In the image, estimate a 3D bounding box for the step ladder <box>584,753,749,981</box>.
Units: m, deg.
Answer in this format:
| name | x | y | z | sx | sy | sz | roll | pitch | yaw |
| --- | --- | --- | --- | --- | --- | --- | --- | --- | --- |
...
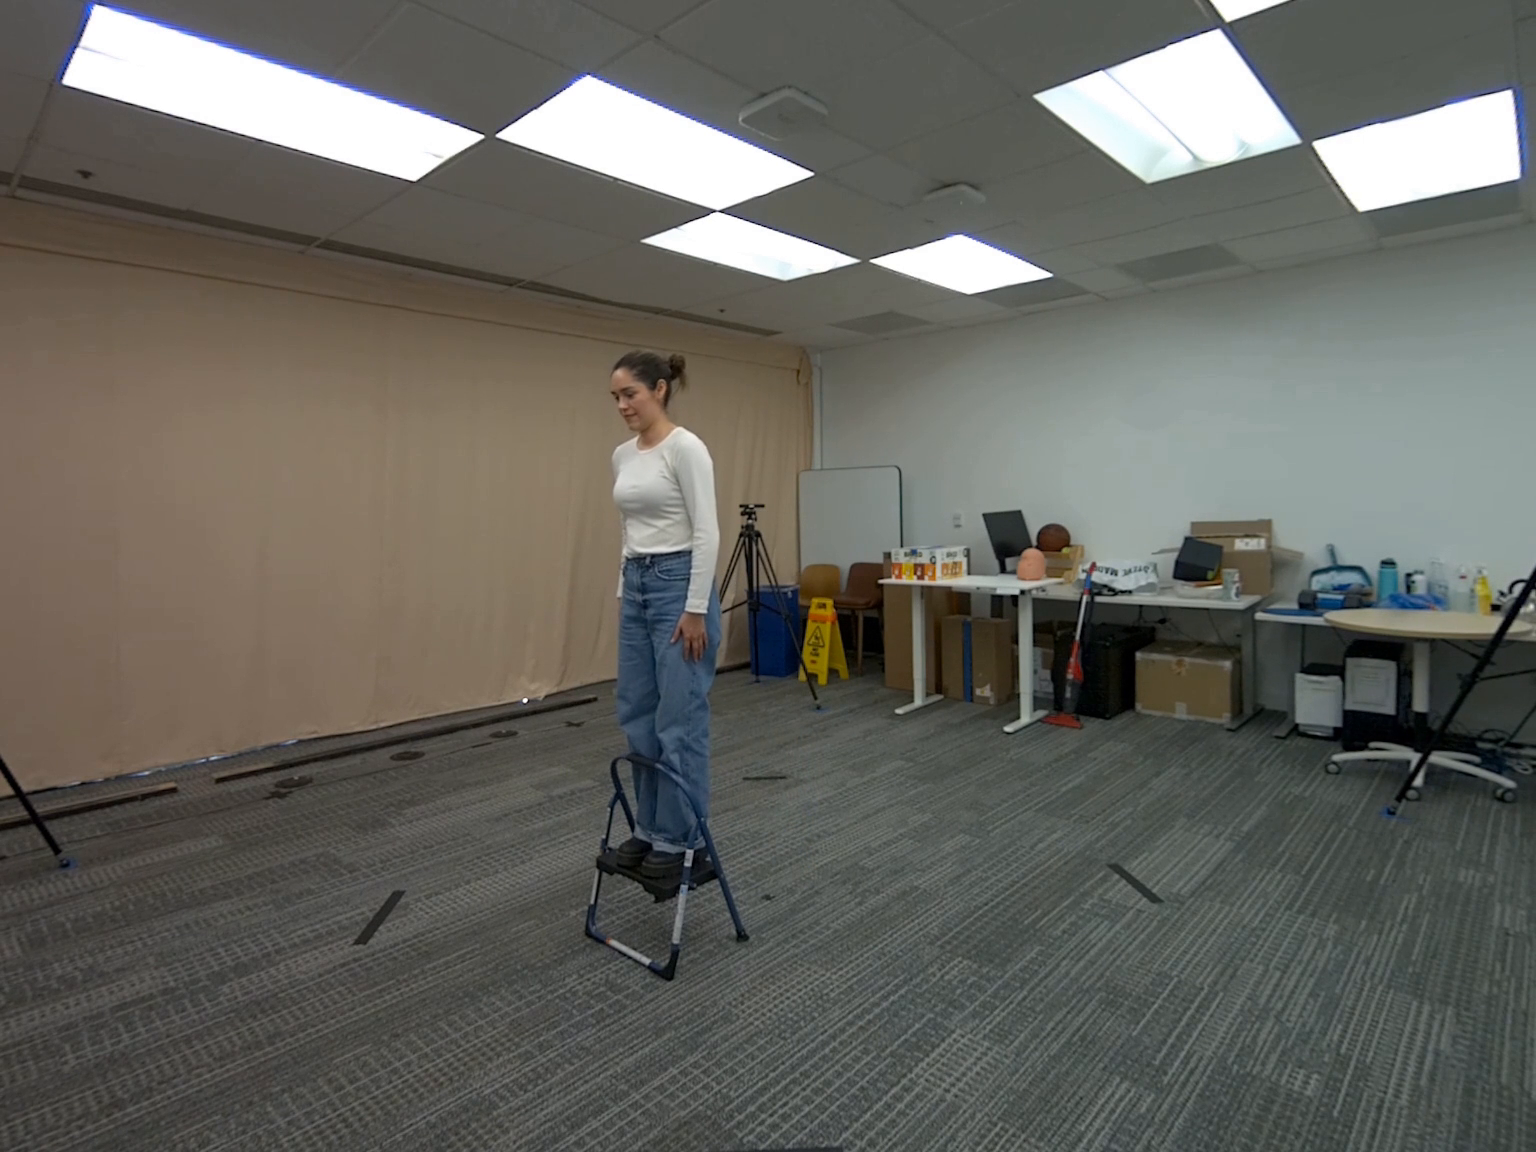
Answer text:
| name | x | y | z | sx | sy | sz | roll | pitch | yaw |
| --- | --- | --- | --- | --- | --- | --- | --- | --- | --- |
| step ladder | -0.337 | 0.866 | 2.715 | 0.445 | 0.605 | 0.339 | 1 | 4 | 42 |
